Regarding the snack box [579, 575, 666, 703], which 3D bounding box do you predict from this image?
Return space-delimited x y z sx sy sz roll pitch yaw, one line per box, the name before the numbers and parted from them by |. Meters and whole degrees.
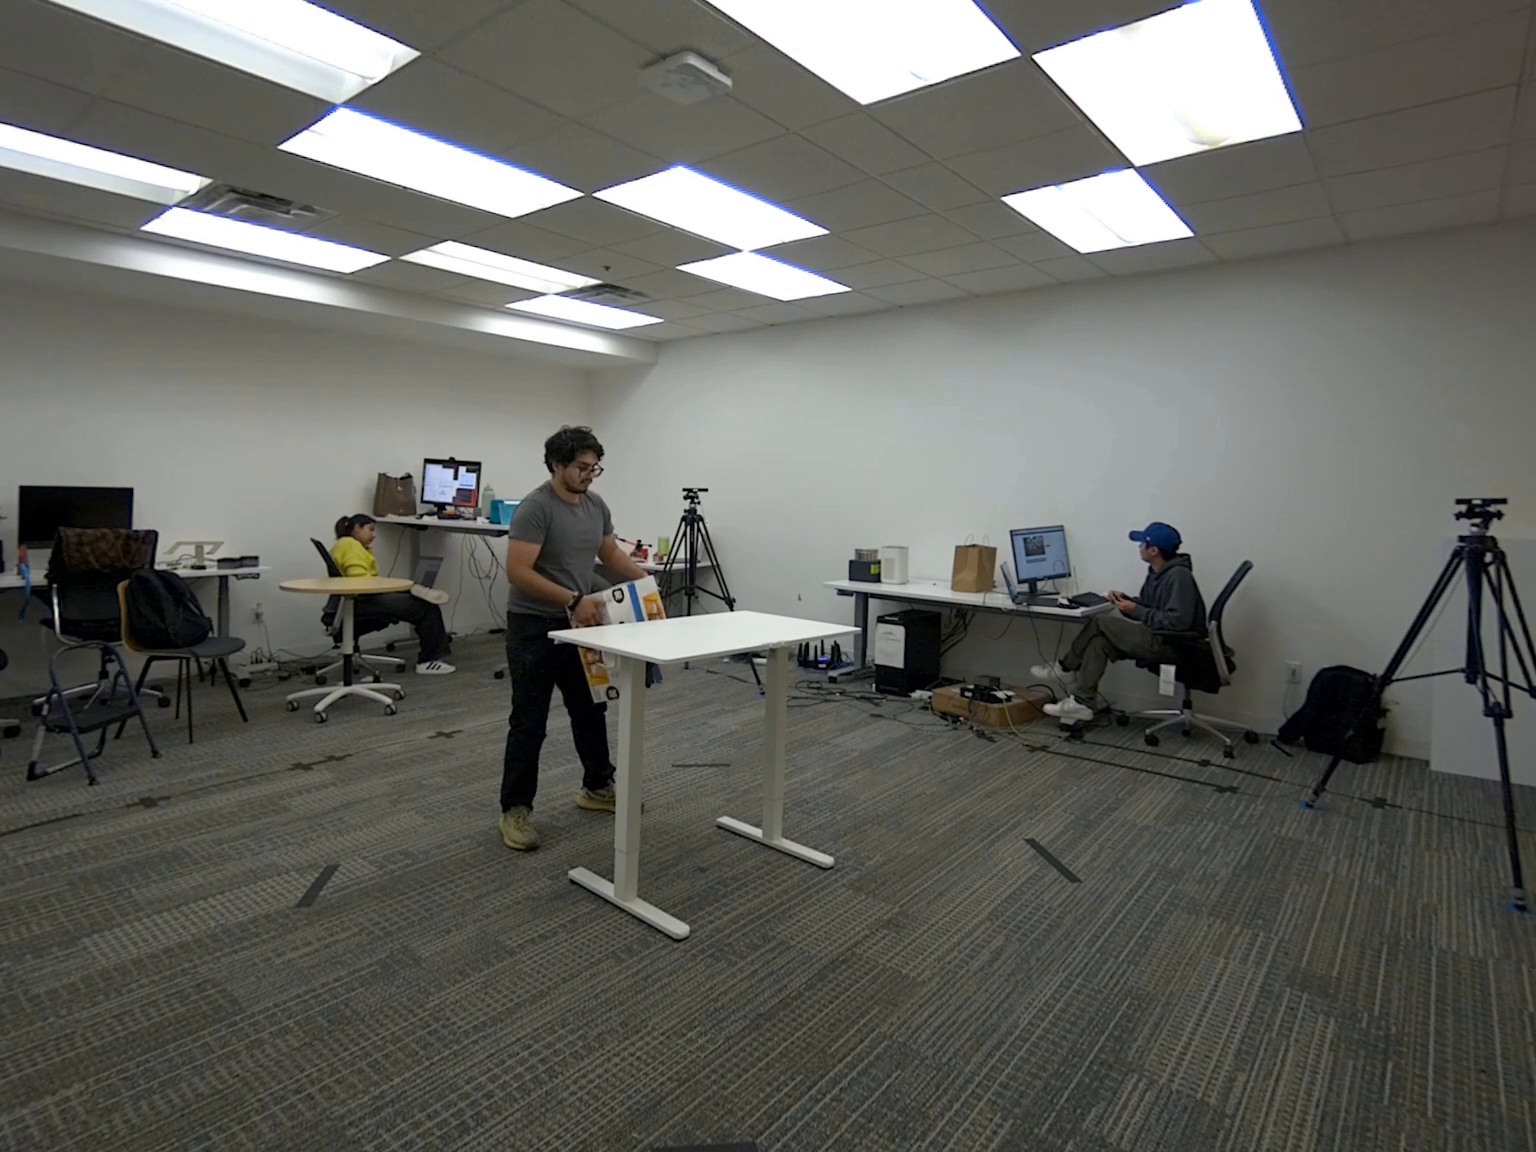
snack box | -0.585 0.242 3.370 0.210 0.405 0.334 -17 2 30
